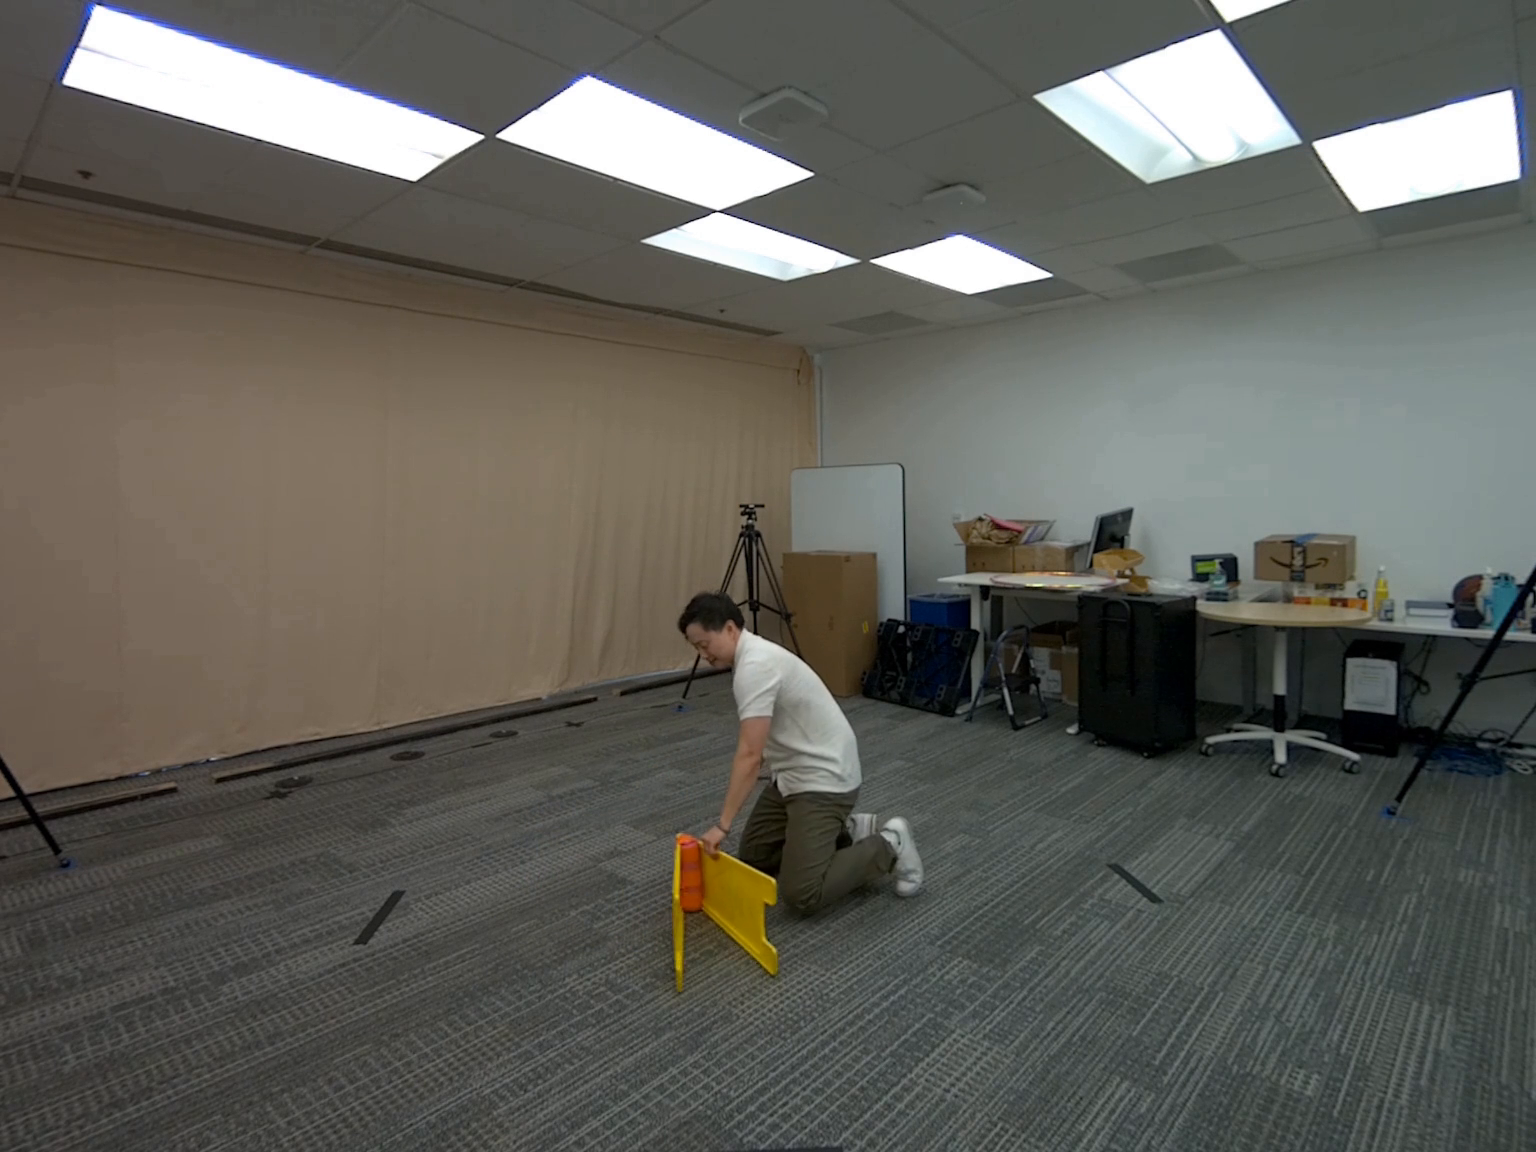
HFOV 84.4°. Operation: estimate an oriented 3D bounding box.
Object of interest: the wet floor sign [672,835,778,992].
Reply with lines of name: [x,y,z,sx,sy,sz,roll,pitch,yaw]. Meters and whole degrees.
wet floor sign: [-0.216,1.033,2.747,0.285,0.282,0.657,-2,1,-18]
